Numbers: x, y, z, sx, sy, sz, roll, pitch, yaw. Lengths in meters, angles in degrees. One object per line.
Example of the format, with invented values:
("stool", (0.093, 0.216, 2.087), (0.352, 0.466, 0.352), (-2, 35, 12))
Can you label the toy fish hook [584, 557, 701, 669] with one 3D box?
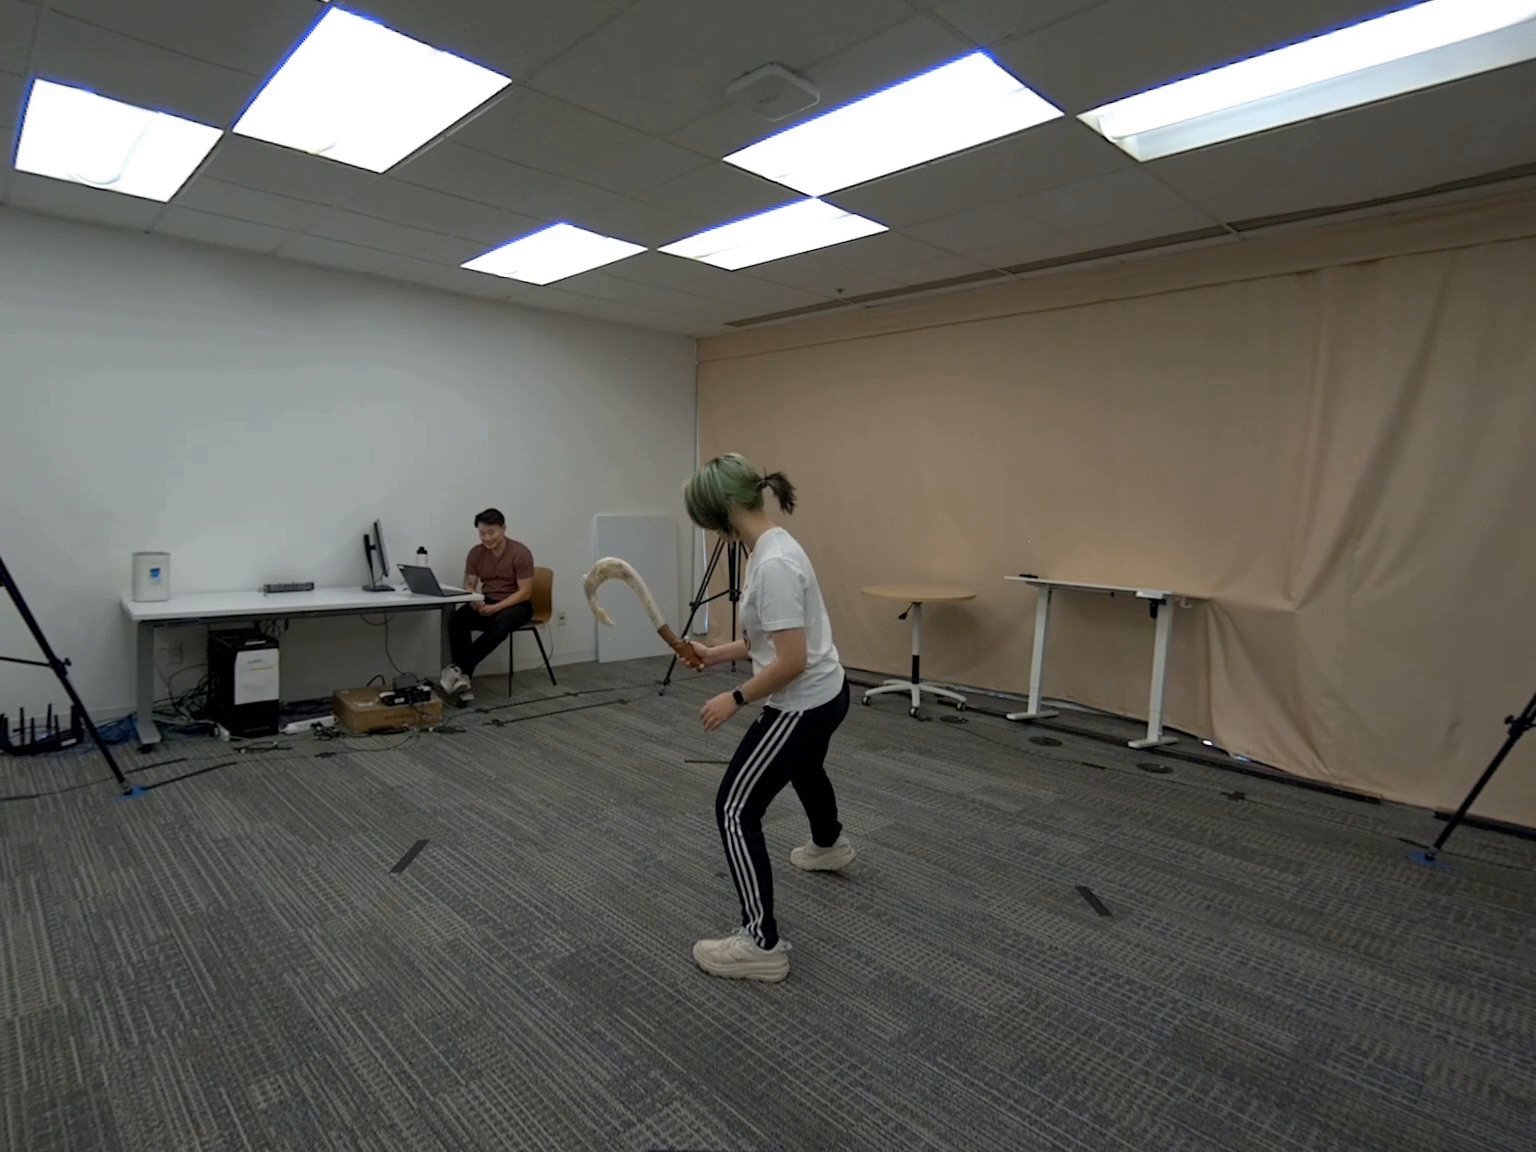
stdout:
("toy fish hook", (-0.423, 0.160, 2.812), (0.225, 0.509, 0.048), (-43, -4, 18))
